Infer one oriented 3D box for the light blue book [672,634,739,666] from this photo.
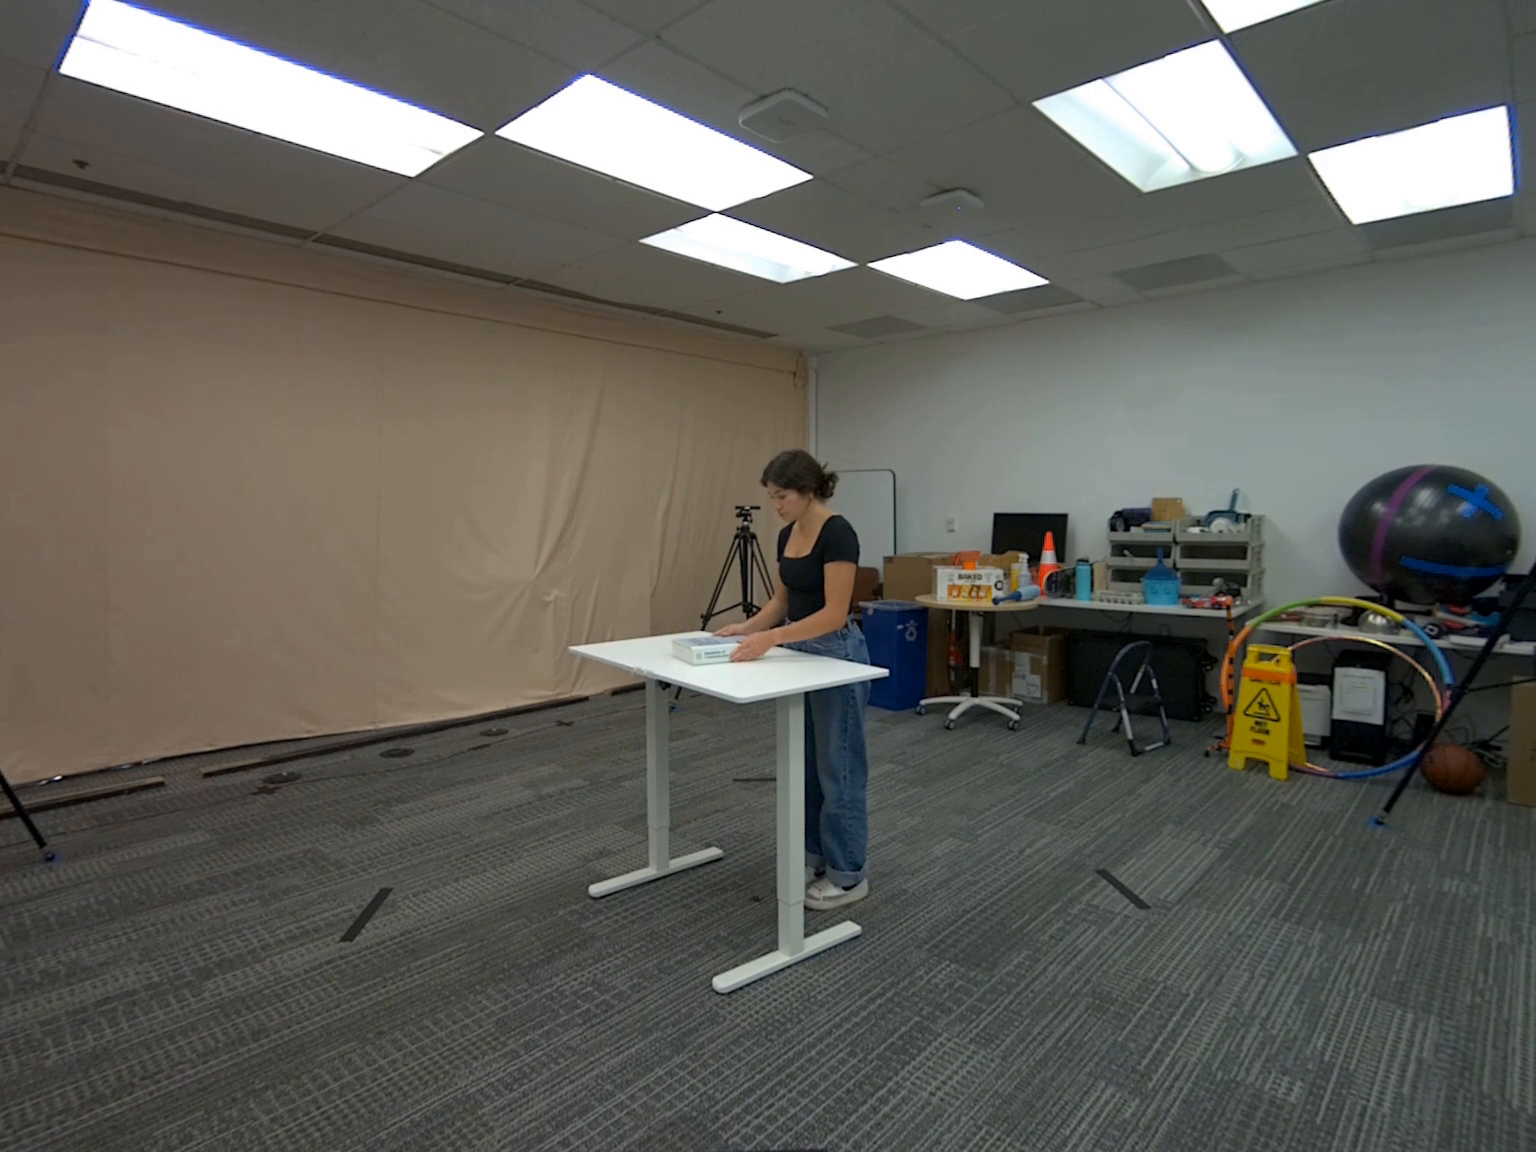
[{"bbox_3d":[-0.172,0.251,2.850,0.254,0.059,0.197,-2,6,-27],"label":"light blue book"}]
